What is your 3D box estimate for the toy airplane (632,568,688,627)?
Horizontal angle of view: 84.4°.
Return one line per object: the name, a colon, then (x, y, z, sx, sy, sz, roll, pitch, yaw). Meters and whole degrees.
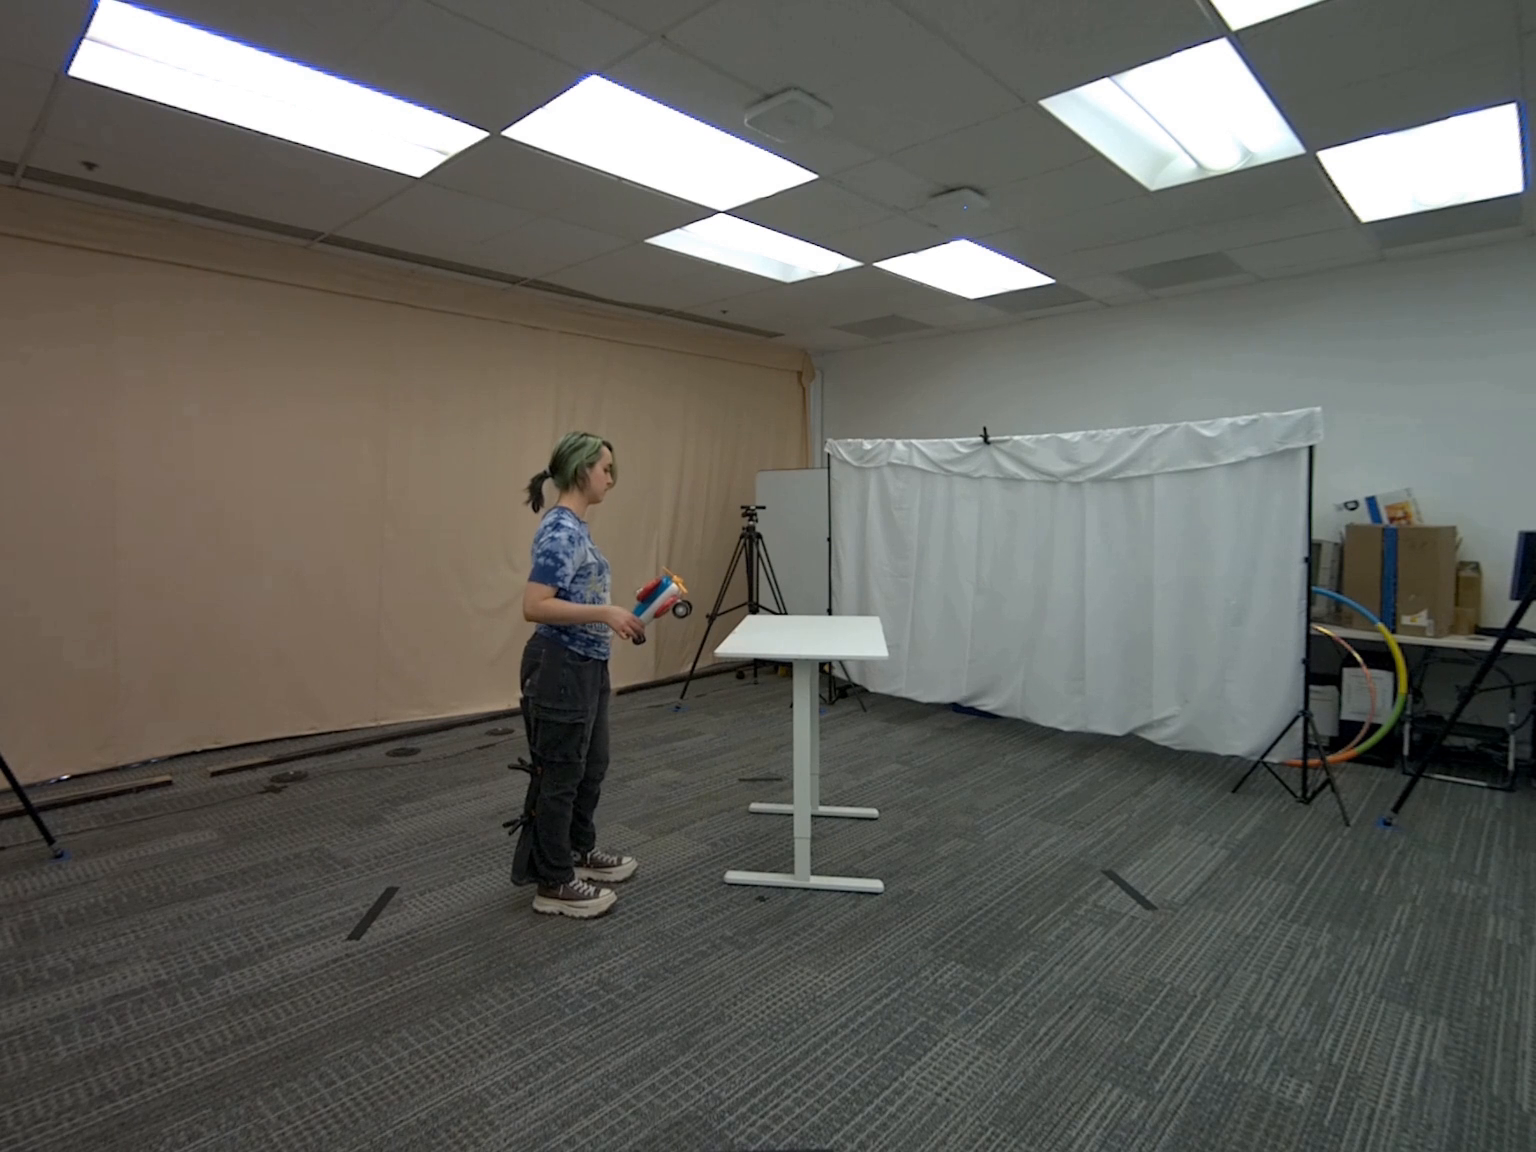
toy airplane: (-0.367, 0.107, 2.718, 0.256, 0.156, 0.254, -31, 1, -24)
